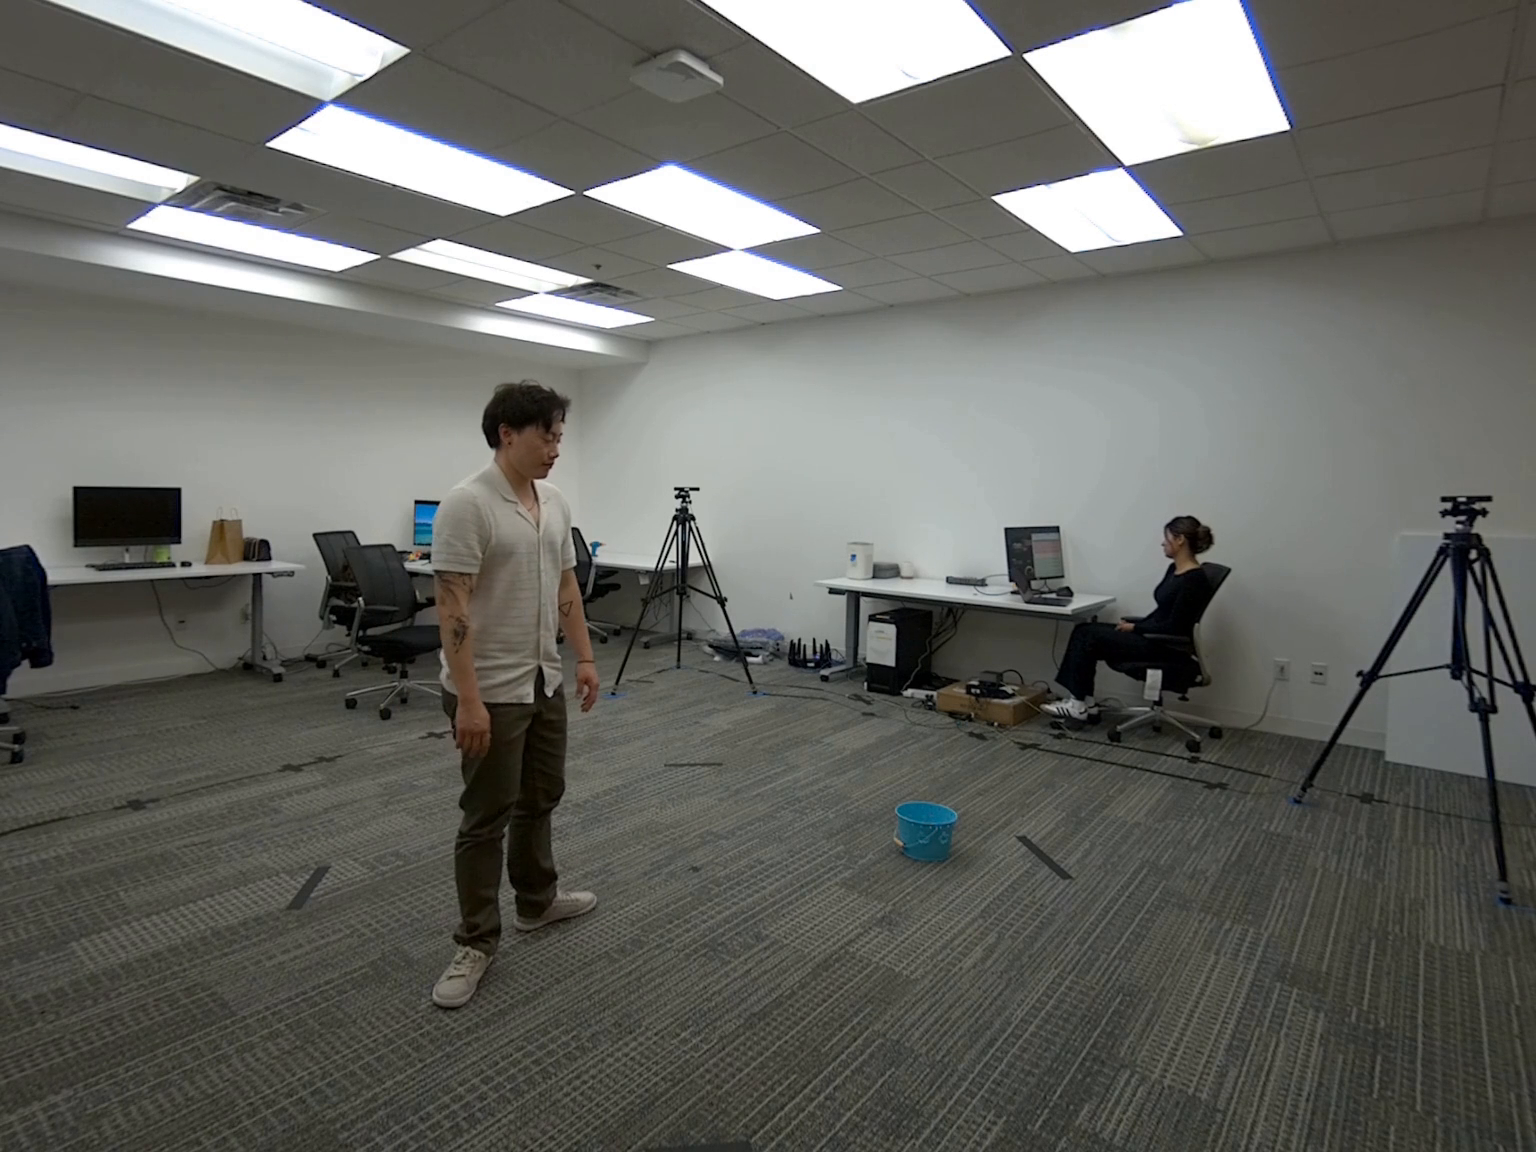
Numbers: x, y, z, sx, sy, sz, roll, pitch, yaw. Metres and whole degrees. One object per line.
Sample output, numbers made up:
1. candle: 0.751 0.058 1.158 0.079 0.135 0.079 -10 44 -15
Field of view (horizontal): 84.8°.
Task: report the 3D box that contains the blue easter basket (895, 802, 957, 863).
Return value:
1. blue easter basket: 0.598 0.989 3.304 0.243 0.155 0.245 1 5 -2
